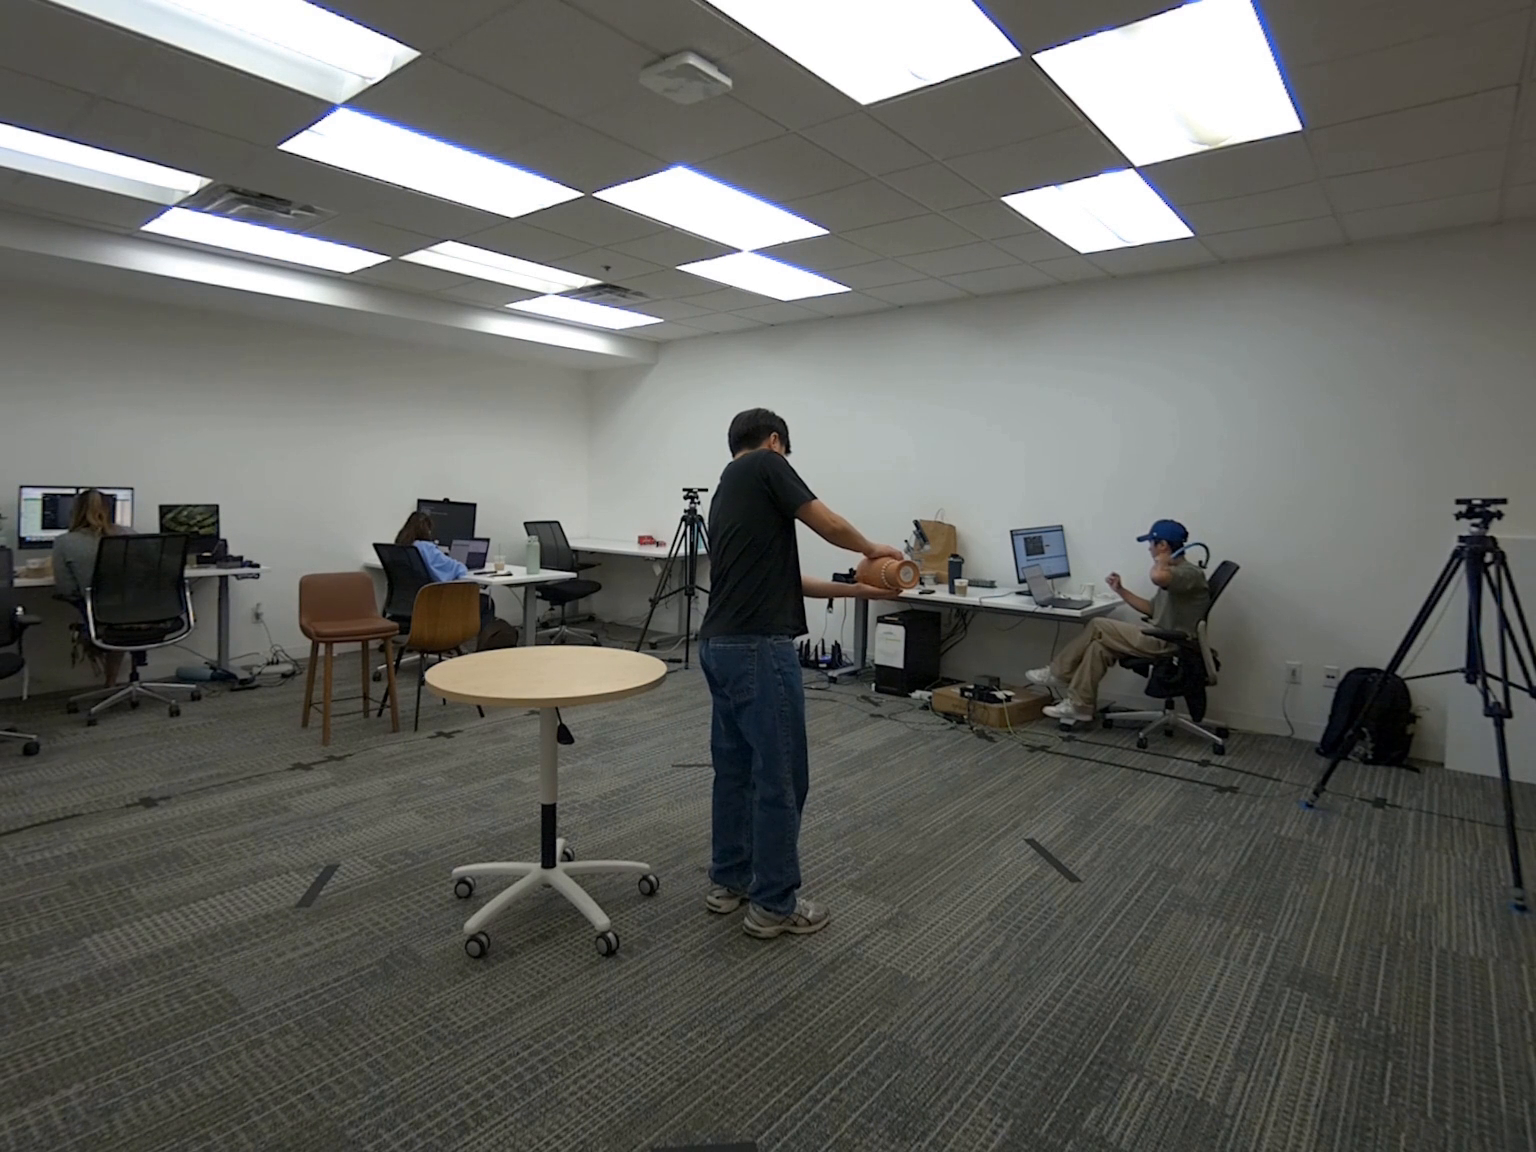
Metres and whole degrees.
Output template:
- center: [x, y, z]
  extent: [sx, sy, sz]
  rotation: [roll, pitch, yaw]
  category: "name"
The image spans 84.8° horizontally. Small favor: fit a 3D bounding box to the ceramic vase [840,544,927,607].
- center: [0.394, -0.006, 2.911]
  extent: [0.132, 0.159, 0.224]
  rotation: [47, -15, -16]
  category: "ceramic vase"
